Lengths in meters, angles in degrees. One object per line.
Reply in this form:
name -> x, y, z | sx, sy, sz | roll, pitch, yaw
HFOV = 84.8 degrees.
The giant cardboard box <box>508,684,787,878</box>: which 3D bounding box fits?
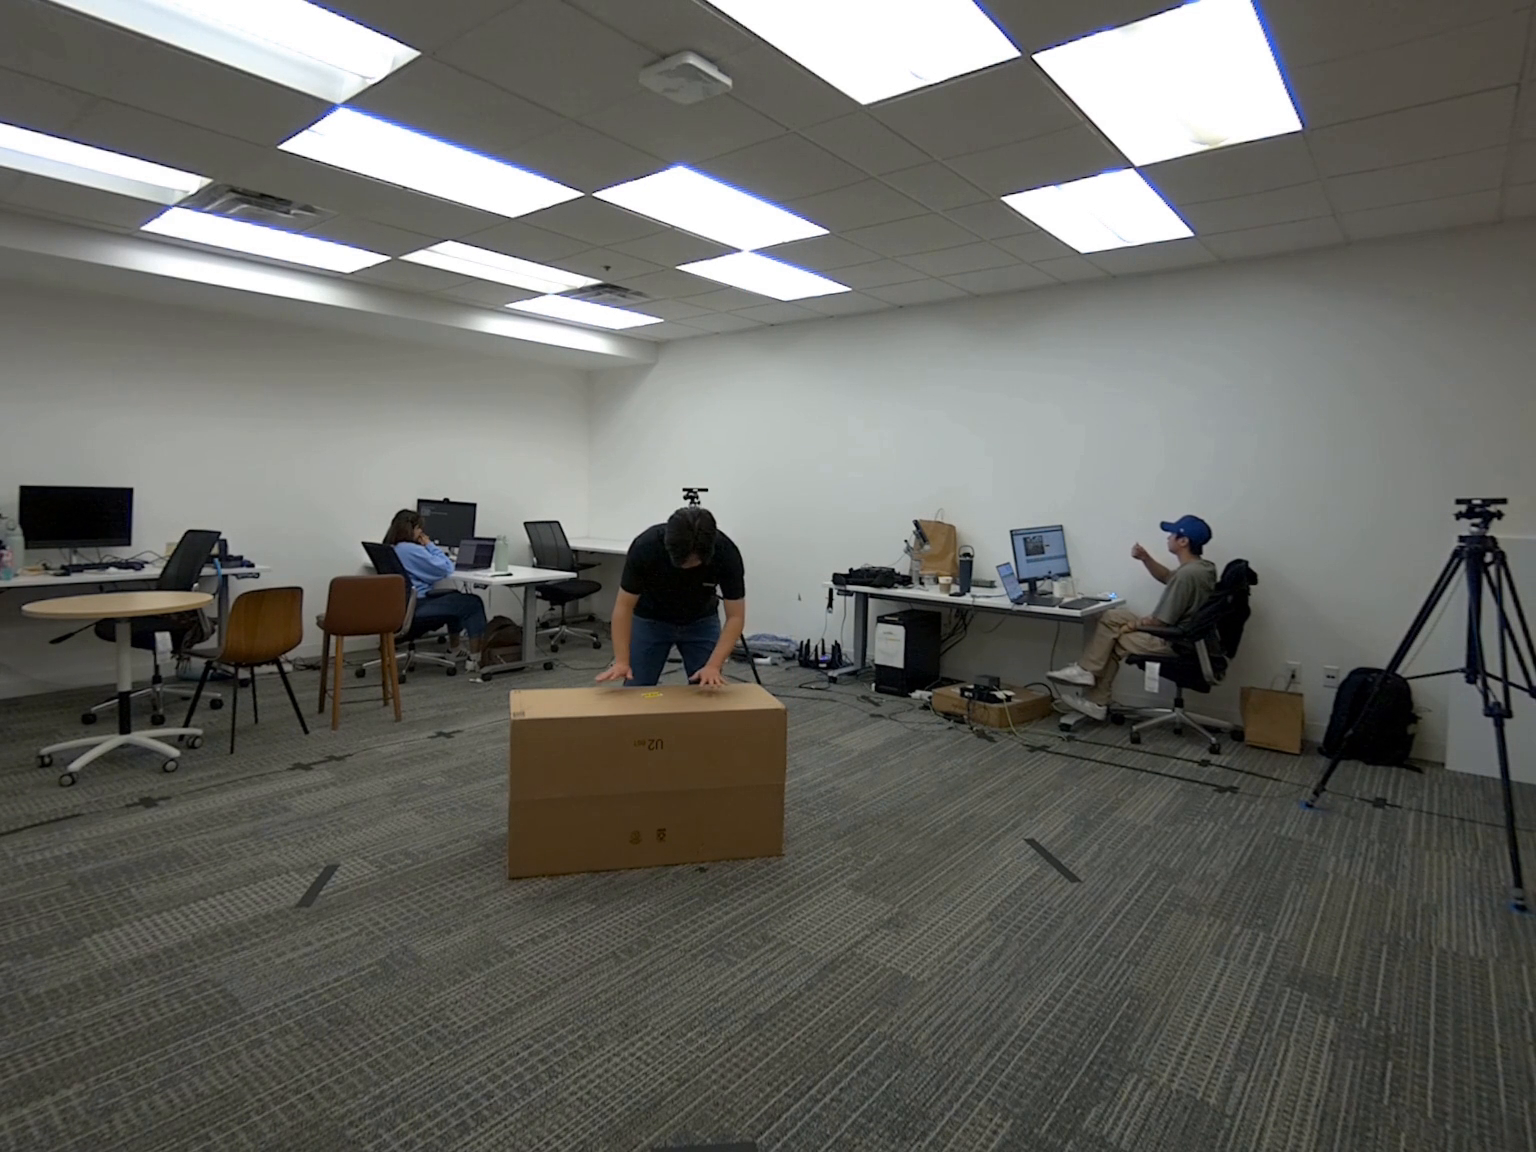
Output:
giant cardboard box -> -0.492, 0.756, 3.305 | 1.011, 0.583, 0.455 | 0, 3, -15
